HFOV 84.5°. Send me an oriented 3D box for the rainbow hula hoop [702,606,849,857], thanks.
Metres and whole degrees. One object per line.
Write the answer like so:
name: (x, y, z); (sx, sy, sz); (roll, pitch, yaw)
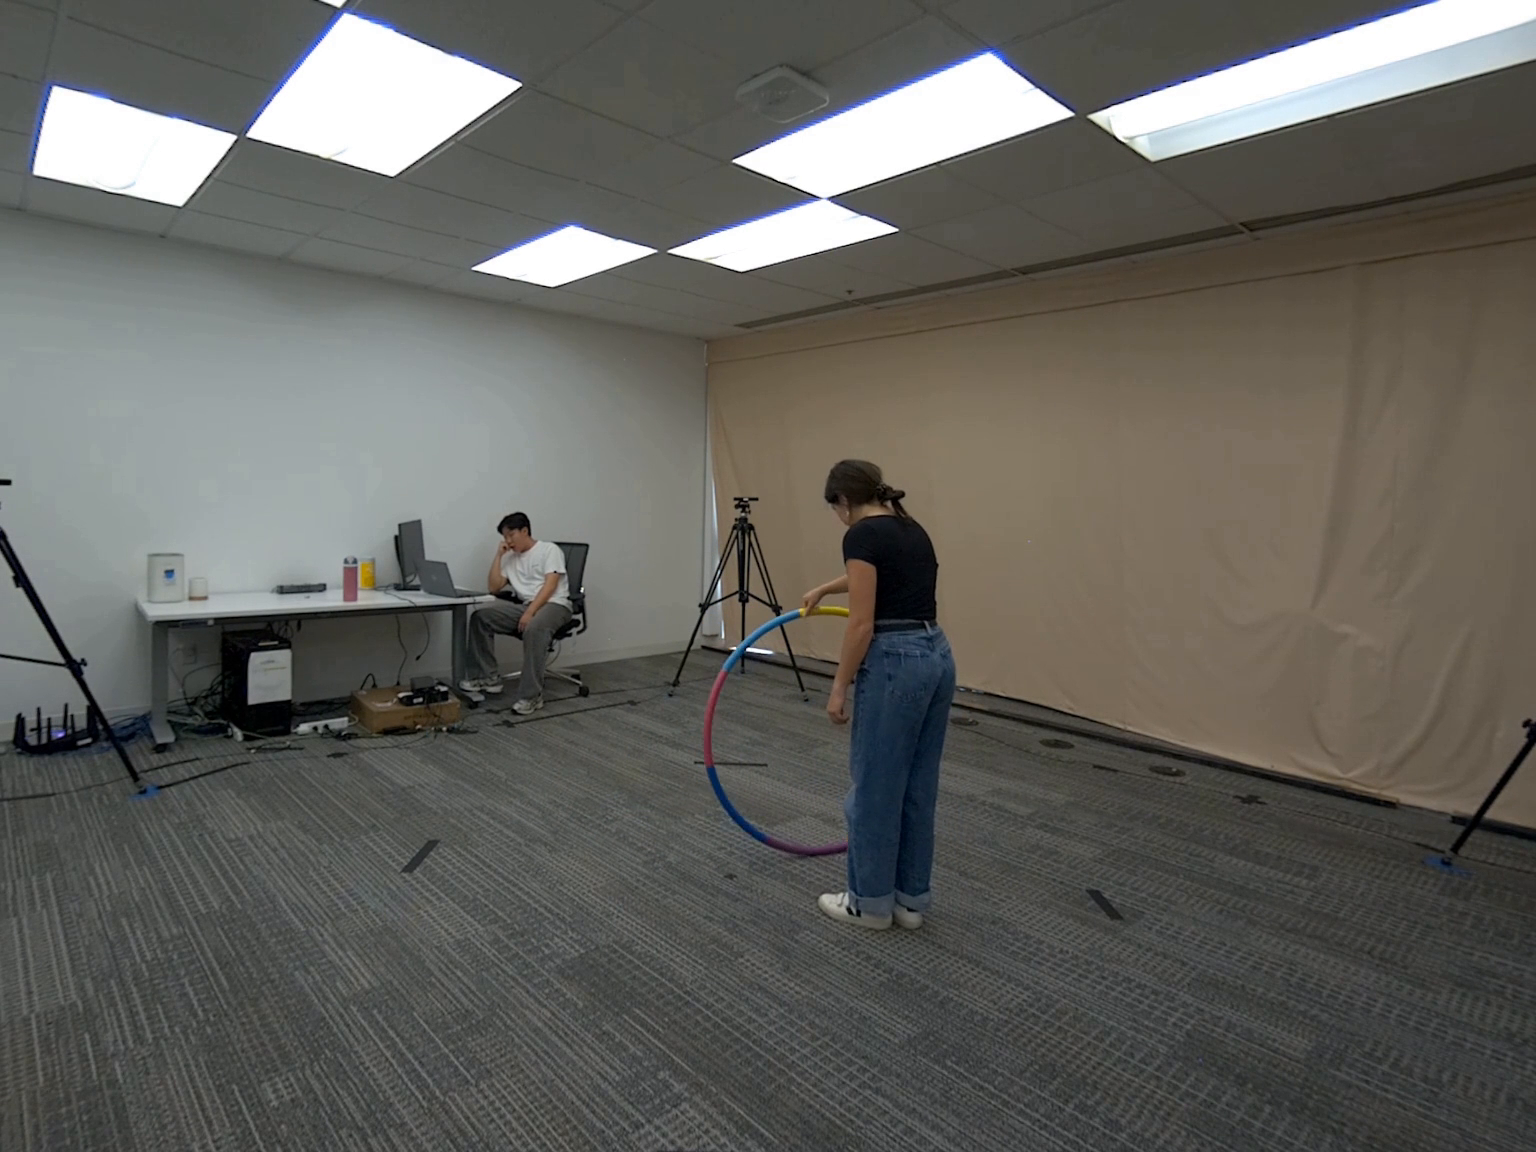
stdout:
rainbow hula hoop: (0.210, 0.618, 3.327); (0.964, 0.979, 0.036); (0, -1, -19)
